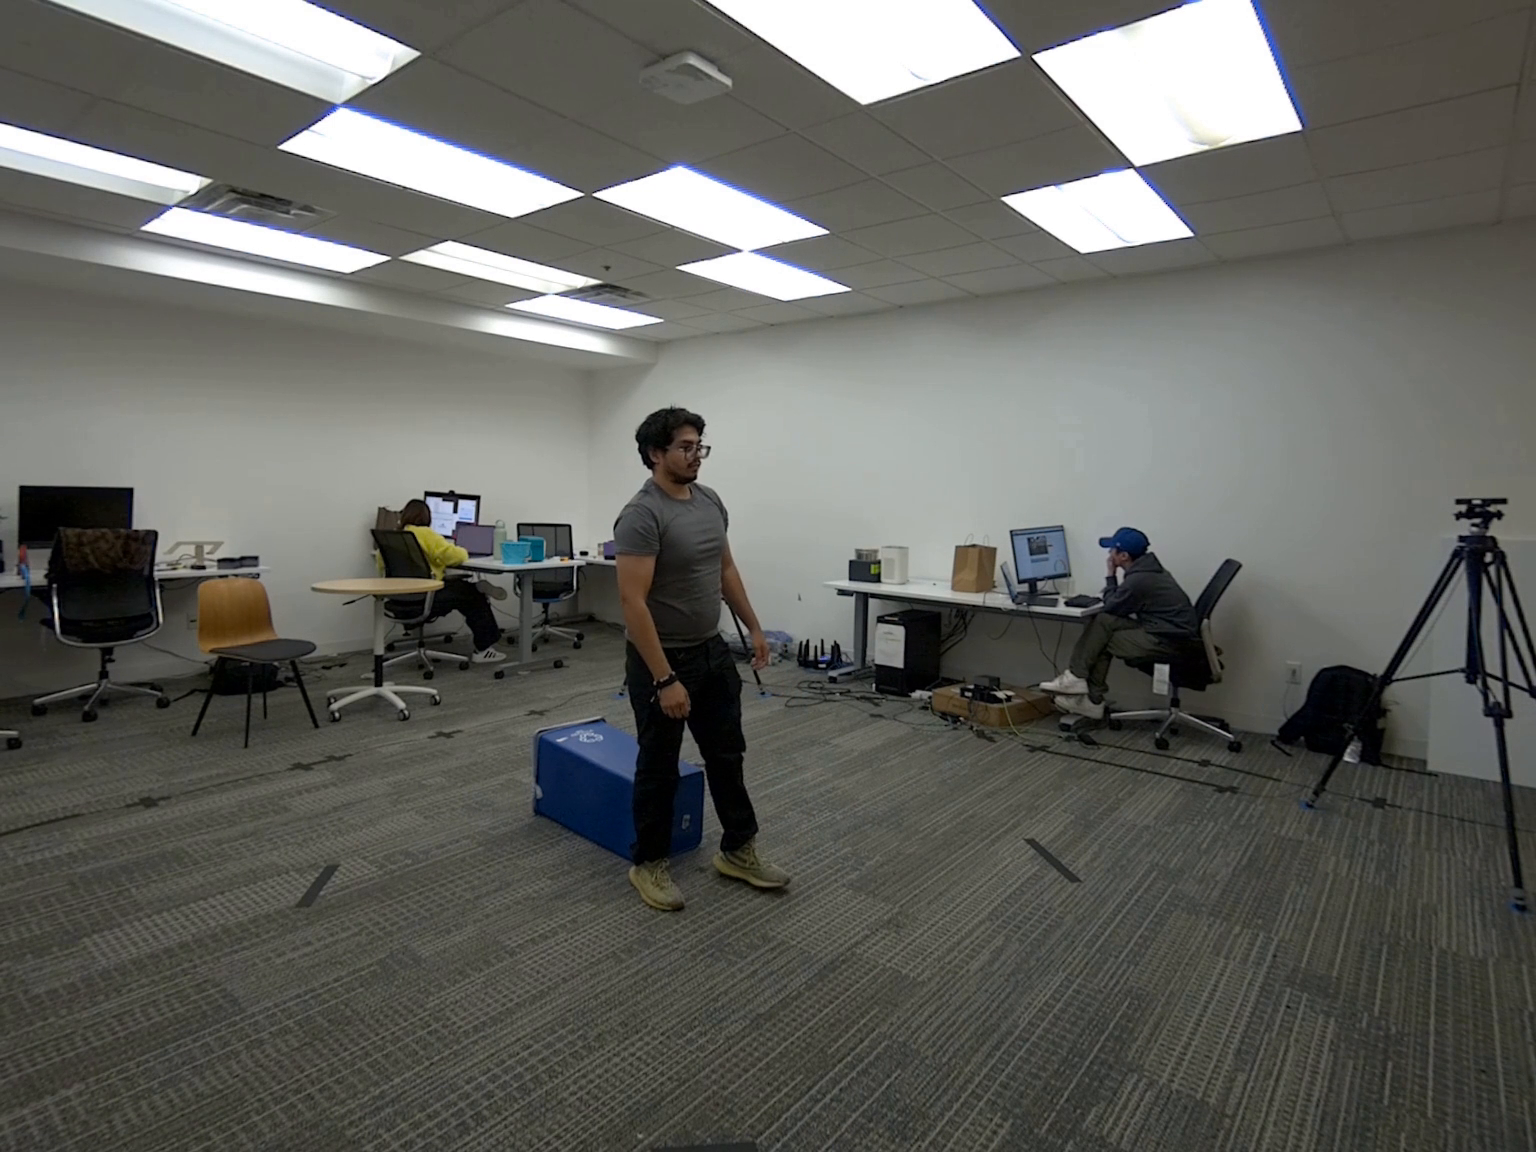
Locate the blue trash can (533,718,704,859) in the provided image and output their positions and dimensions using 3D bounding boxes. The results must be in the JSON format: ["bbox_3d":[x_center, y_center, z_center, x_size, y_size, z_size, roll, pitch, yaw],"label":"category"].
[{"bbox_3d":[-0.625,0.854,3.453,0.739,0.372,0.366,8,8,44],"label":"blue trash can"}]
